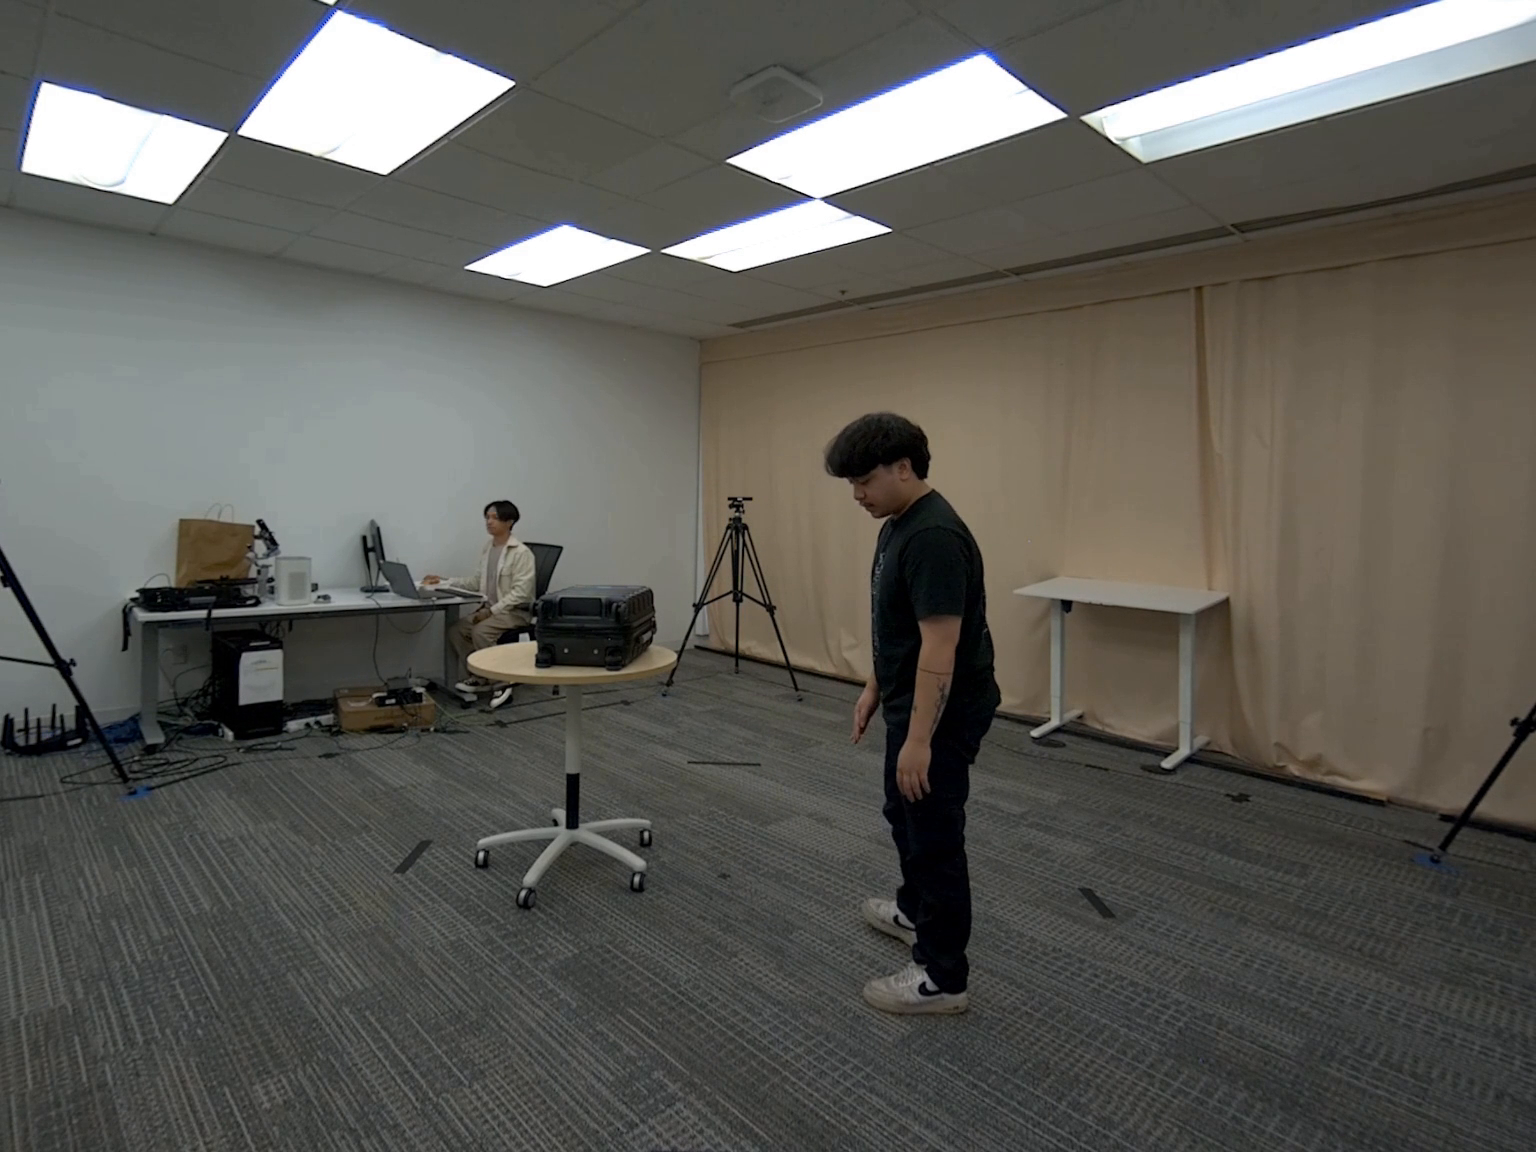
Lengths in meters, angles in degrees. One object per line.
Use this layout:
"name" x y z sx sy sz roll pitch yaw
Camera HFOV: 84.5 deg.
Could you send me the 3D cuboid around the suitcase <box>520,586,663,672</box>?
"suitcase" -0.635 0.182 3.138 0.377 0.248 0.547 -1 3 6
